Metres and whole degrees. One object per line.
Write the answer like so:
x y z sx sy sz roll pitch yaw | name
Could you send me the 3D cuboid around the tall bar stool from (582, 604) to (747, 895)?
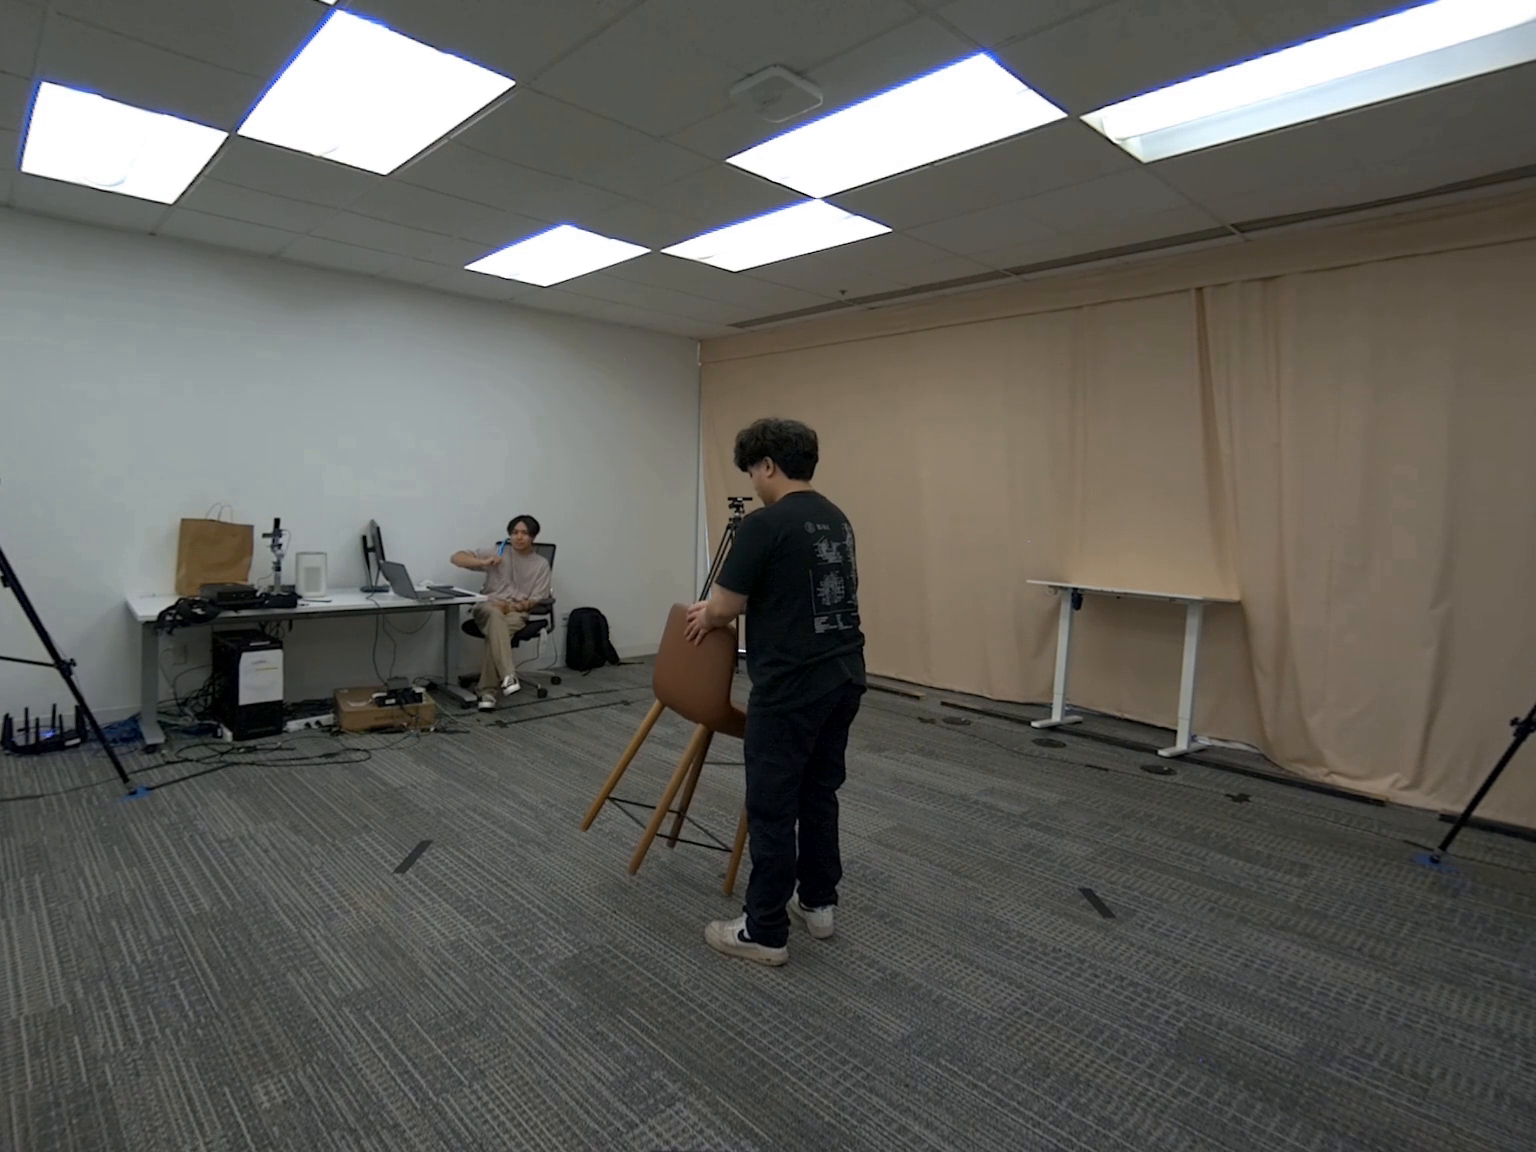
-0.256 0.607 3.030 0.454 0.892 0.469 25 -8 -38 | tall bar stool
